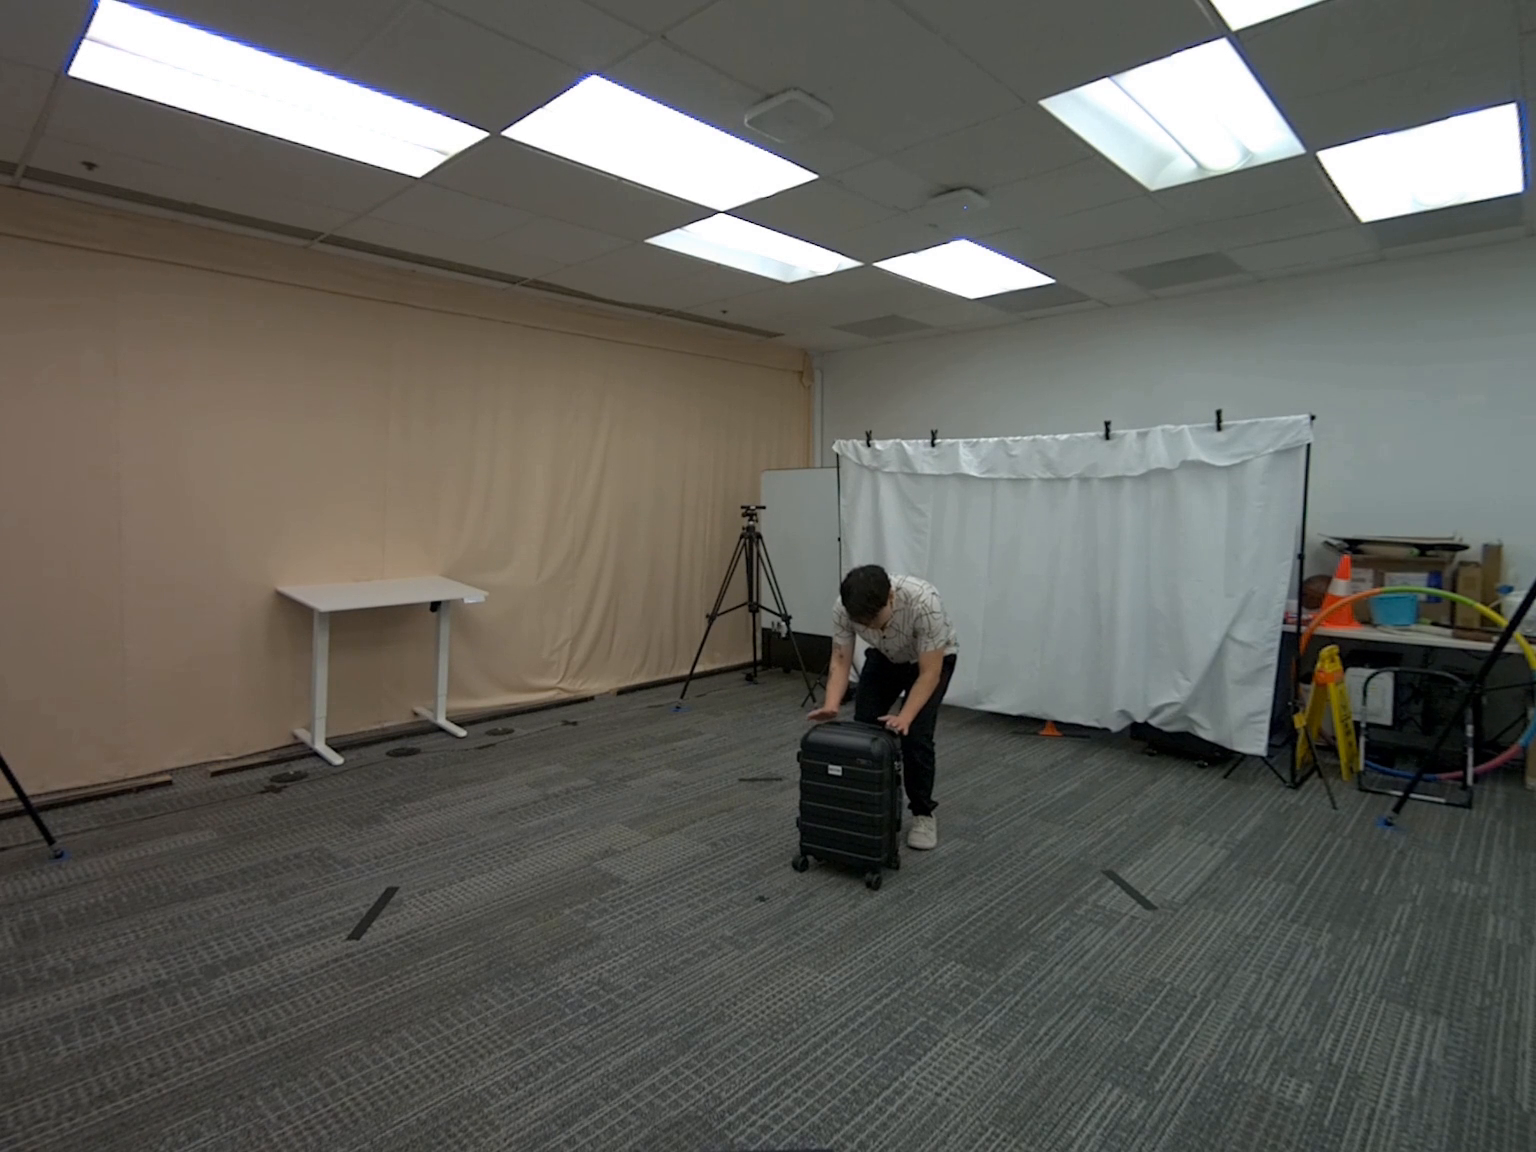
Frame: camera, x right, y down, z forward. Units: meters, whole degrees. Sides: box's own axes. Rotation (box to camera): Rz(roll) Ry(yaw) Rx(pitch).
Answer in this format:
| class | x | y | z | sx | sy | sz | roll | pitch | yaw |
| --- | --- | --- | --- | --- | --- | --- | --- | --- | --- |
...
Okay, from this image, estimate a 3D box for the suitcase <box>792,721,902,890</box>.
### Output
| class | x | y | z | sx | sy | sz | roll | pitch | yaw |
| --- | --- | --- | --- | --- | --- | --- | --- | --- | --- |
| suitcase | 0.319 | 0.846 | 3.227 | 0.386 | 0.549 | 0.241 | 2 | 2 | 29 |
